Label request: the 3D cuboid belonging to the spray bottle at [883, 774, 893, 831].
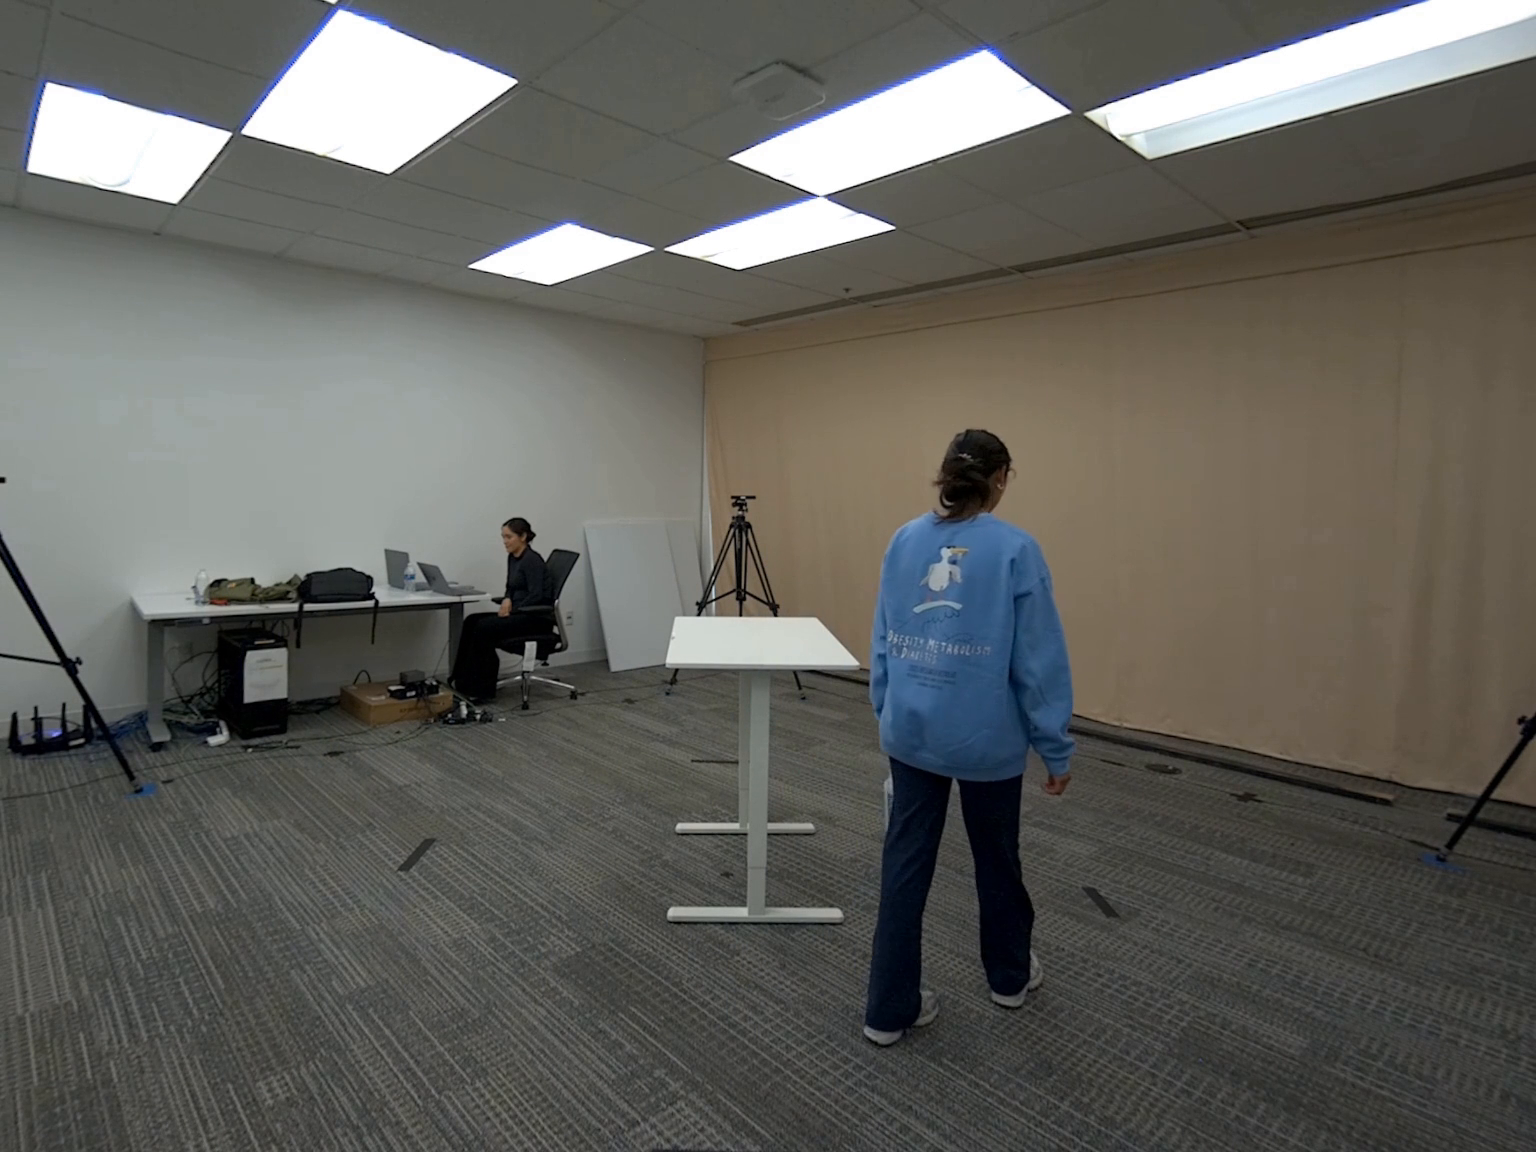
[{"bbox_3d":[0.391,0.639,2.509,0.088,0.296,0.089,-5,6,-34],"label":"spray bottle"}]
